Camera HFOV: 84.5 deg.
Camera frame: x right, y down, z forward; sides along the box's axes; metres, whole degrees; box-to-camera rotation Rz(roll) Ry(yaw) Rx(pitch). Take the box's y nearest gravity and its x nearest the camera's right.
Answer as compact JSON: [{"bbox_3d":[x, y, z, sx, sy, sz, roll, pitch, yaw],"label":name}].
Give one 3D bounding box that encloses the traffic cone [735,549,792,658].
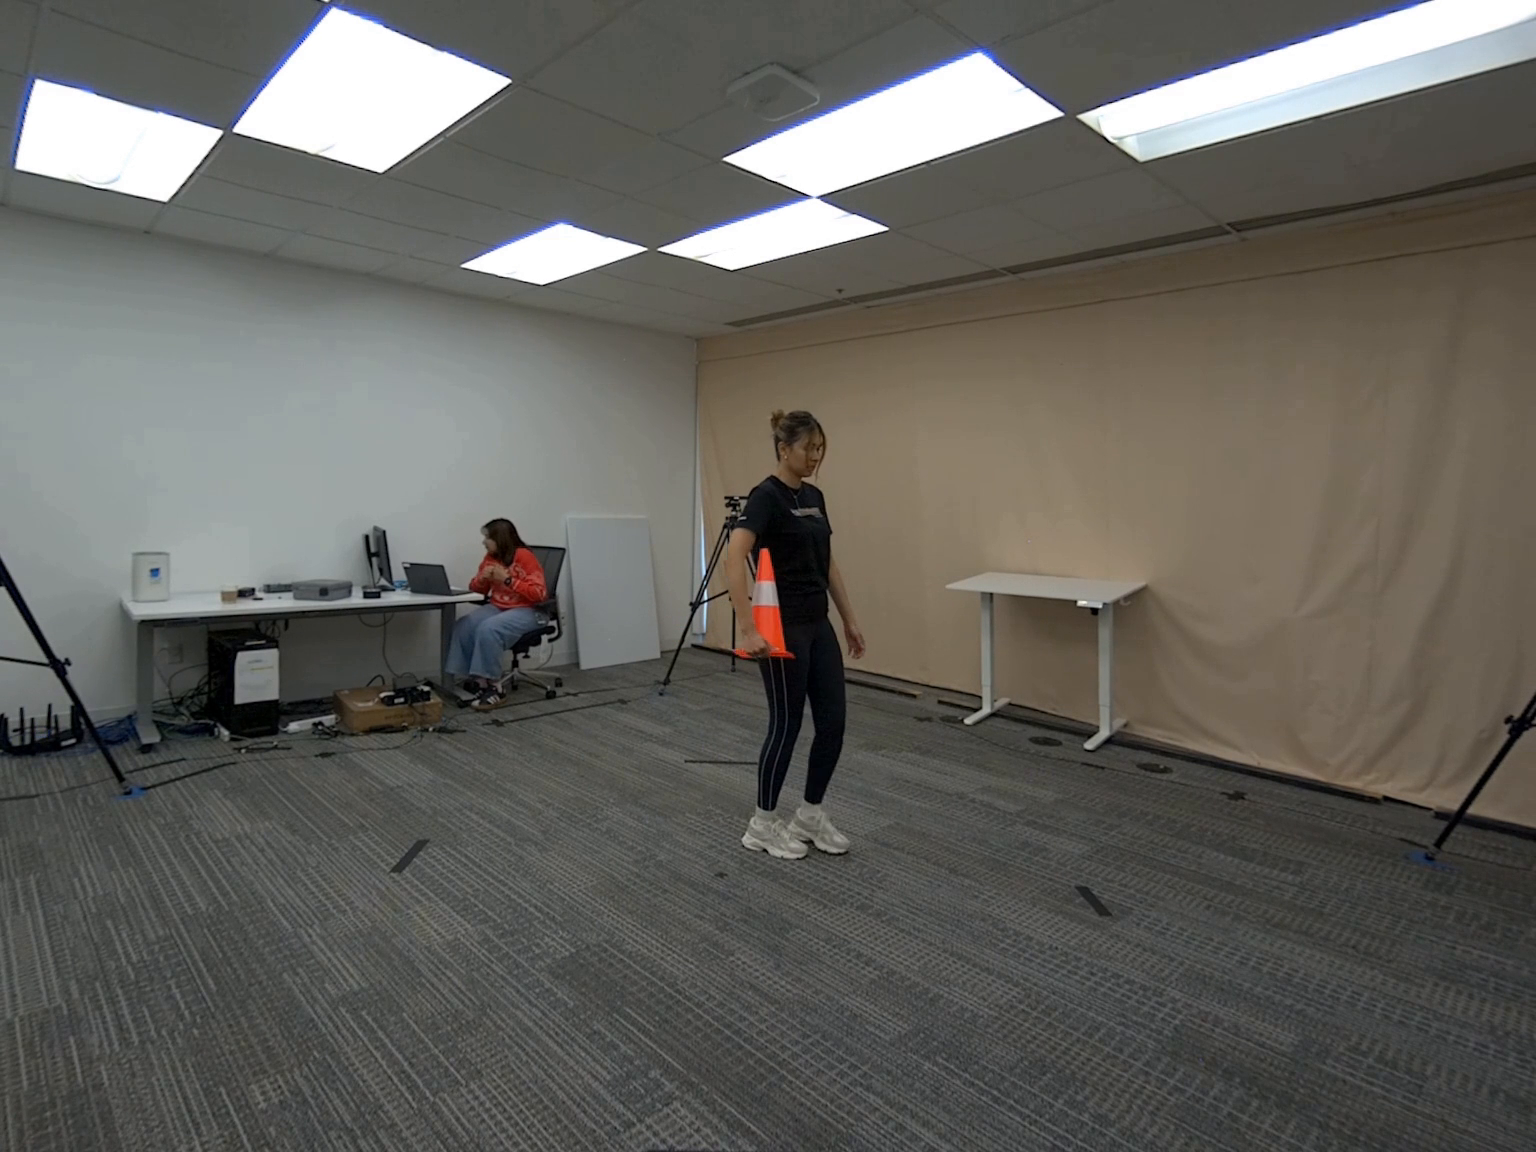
[{"bbox_3d":[-0.019,0.094,3.034,0.207,0.387,0.199,-3,-12,17],"label":"traffic cone"}]
